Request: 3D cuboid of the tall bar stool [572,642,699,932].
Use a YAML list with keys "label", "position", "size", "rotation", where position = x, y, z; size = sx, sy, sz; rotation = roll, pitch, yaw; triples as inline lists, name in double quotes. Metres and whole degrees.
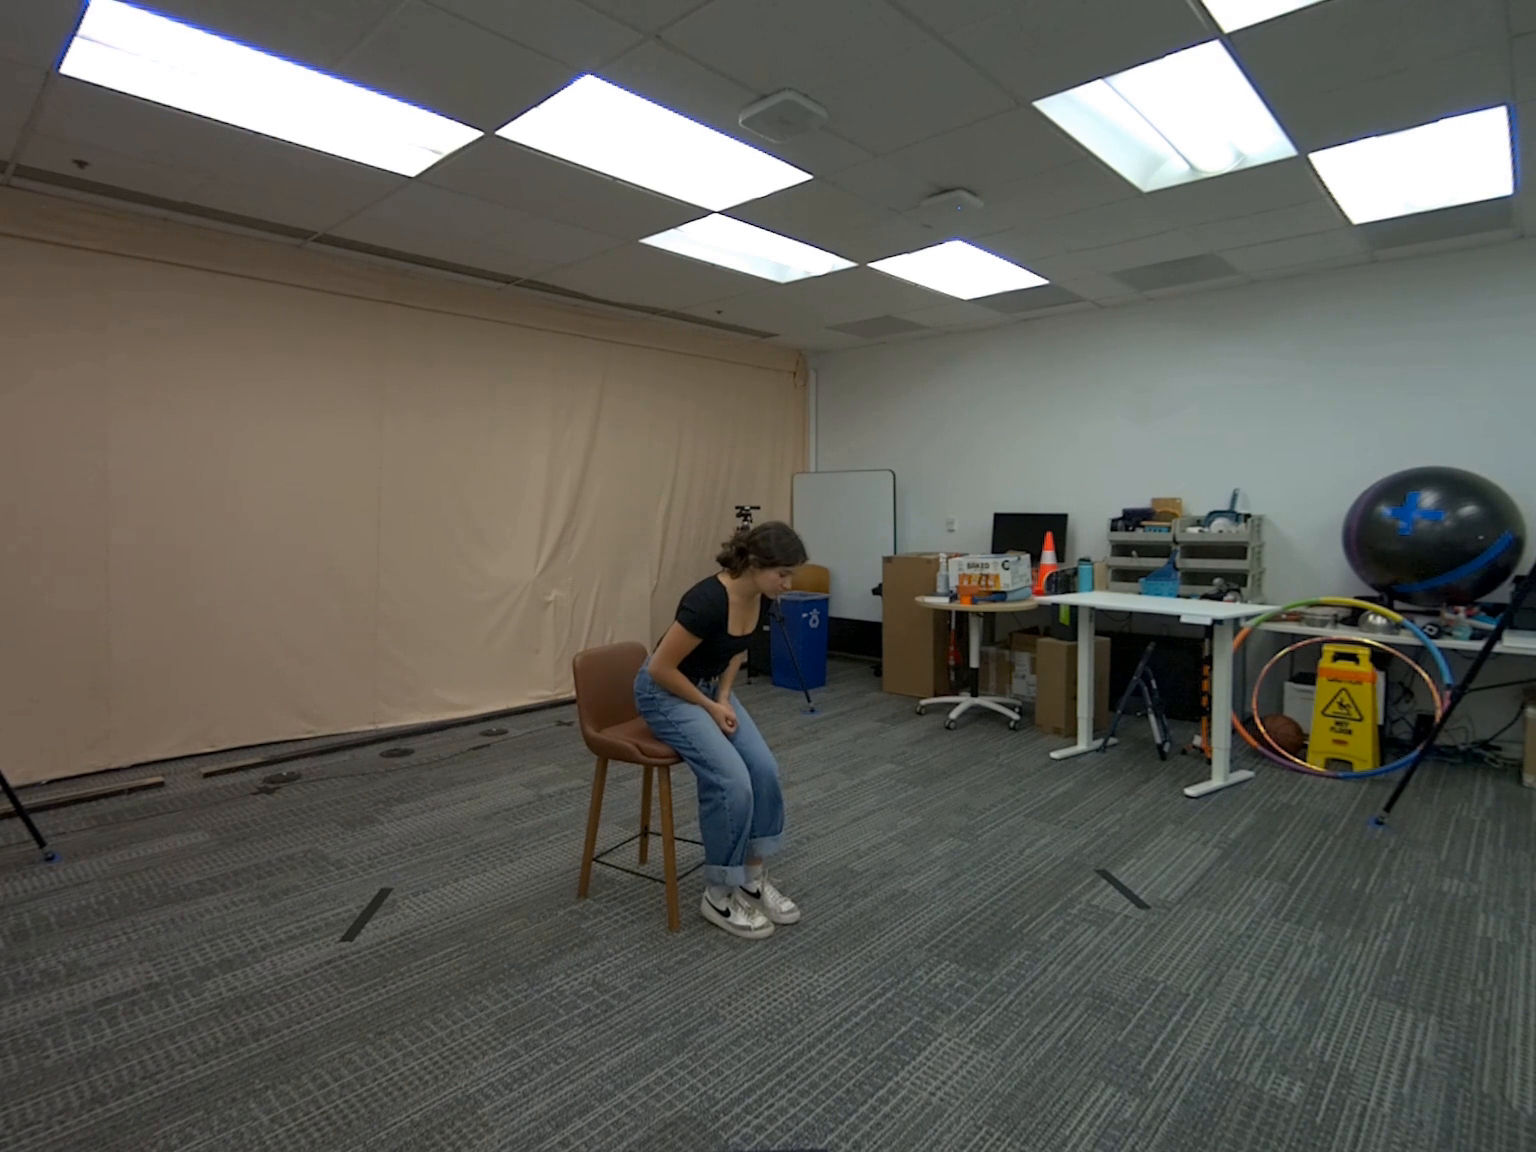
- label: "tall bar stool"
  position: [-0.402, 0.711, 3.023]
  size: [0.482, 0.888, 0.444]
  rotation: [0, 3, 33]
